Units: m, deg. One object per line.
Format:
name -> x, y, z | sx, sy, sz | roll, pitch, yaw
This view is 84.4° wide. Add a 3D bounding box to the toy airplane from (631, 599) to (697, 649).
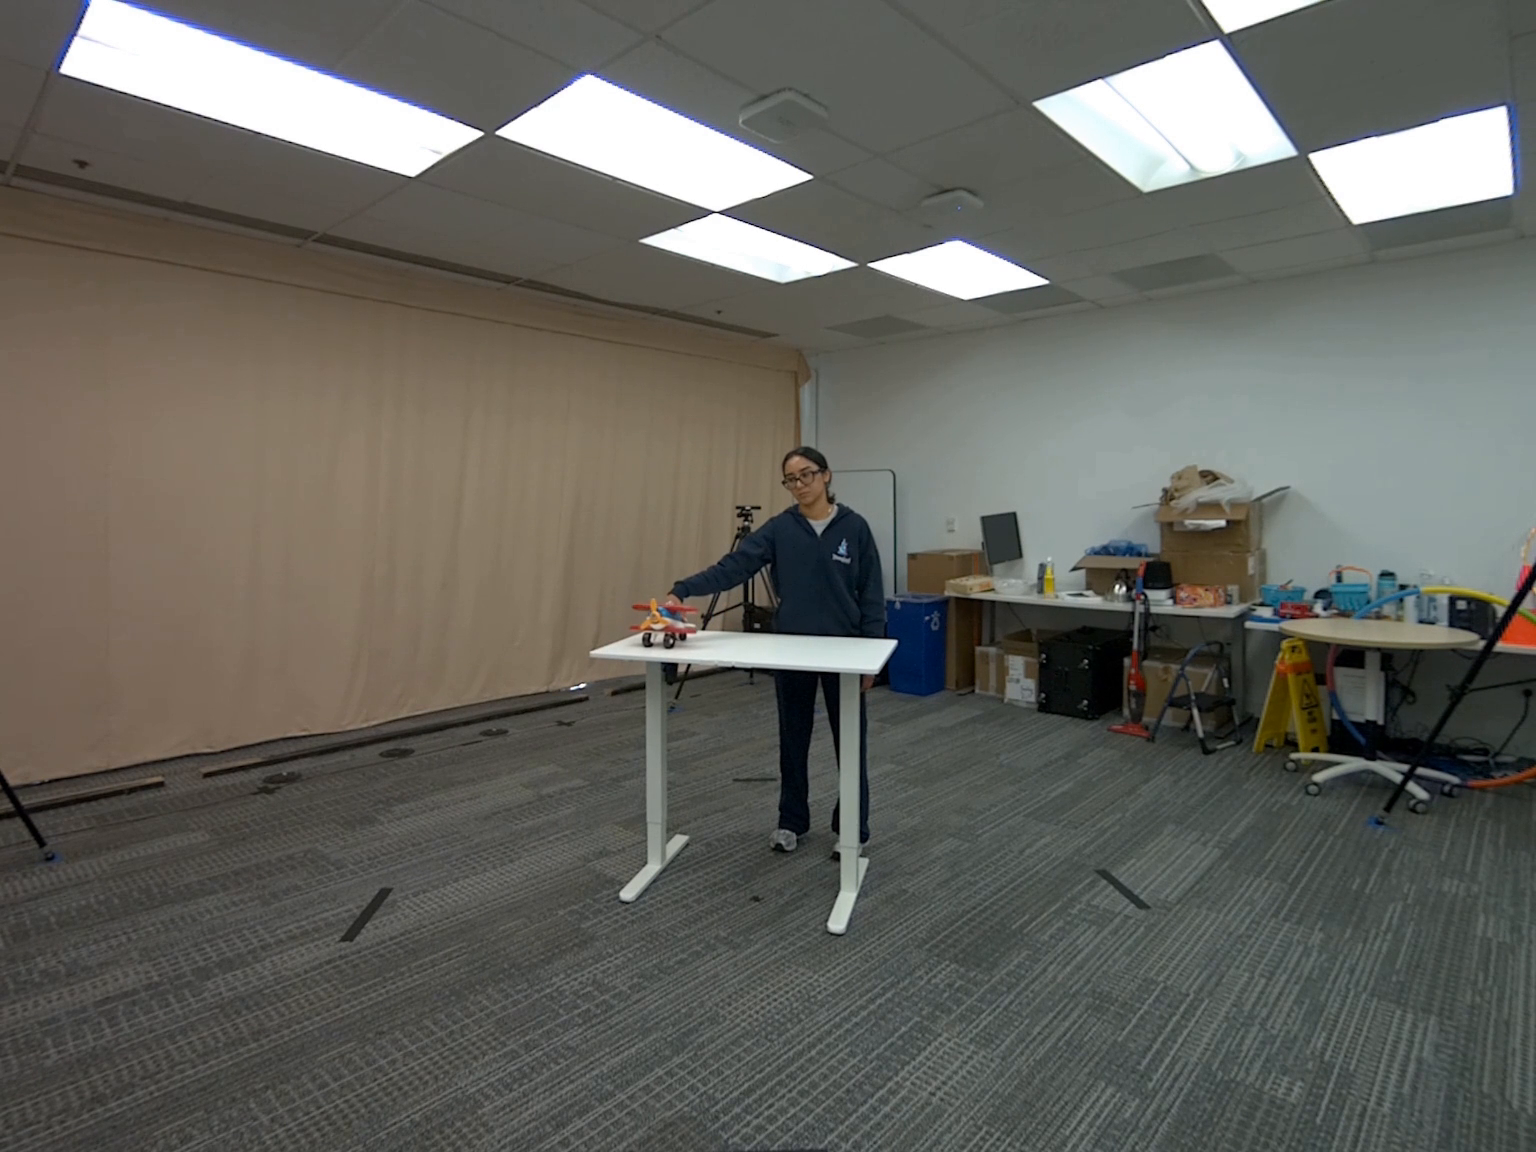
toy airplane -> -0.375, 0.177, 3.120 | 0.249, 0.156, 0.262 | -1, 5, -9
